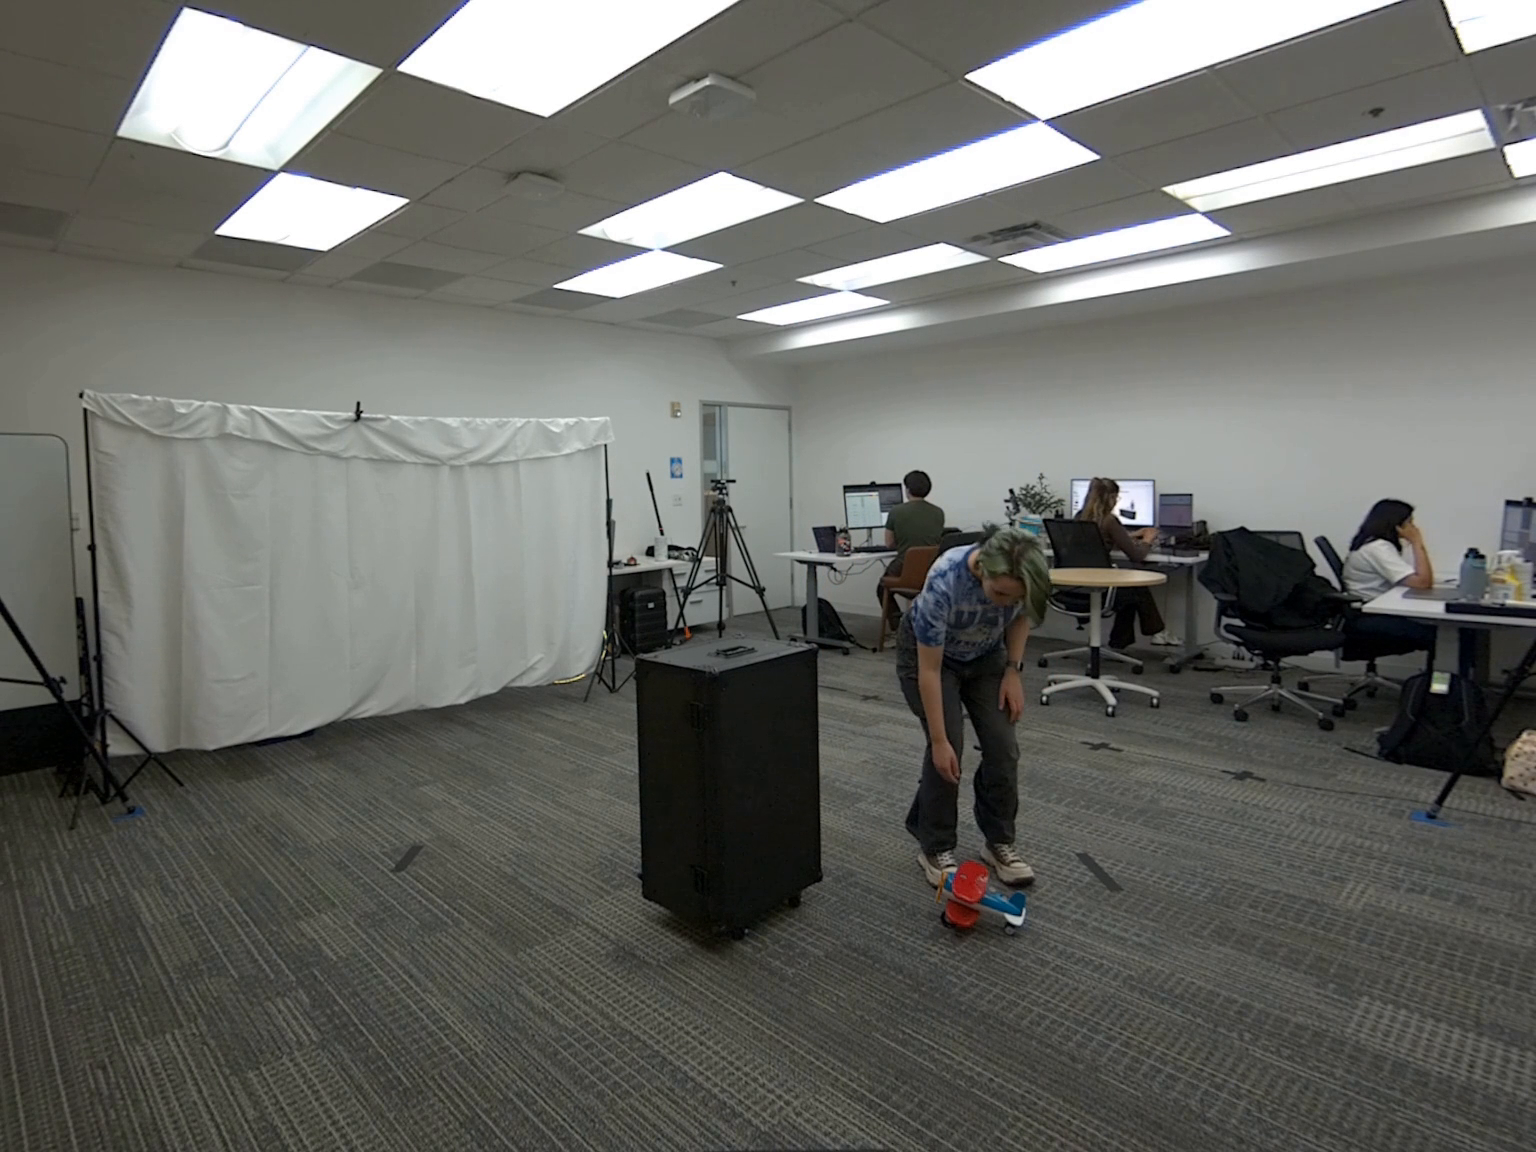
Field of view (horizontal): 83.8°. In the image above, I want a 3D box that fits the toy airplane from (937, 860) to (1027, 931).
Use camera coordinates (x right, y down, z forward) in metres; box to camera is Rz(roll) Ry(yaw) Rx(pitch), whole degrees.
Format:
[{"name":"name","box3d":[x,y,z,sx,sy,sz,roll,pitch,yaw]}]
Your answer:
[{"name":"toy airplane","box3d":[0.662,1.008,2.656,0.259,0.156,0.252,-2,5,-3]}]
